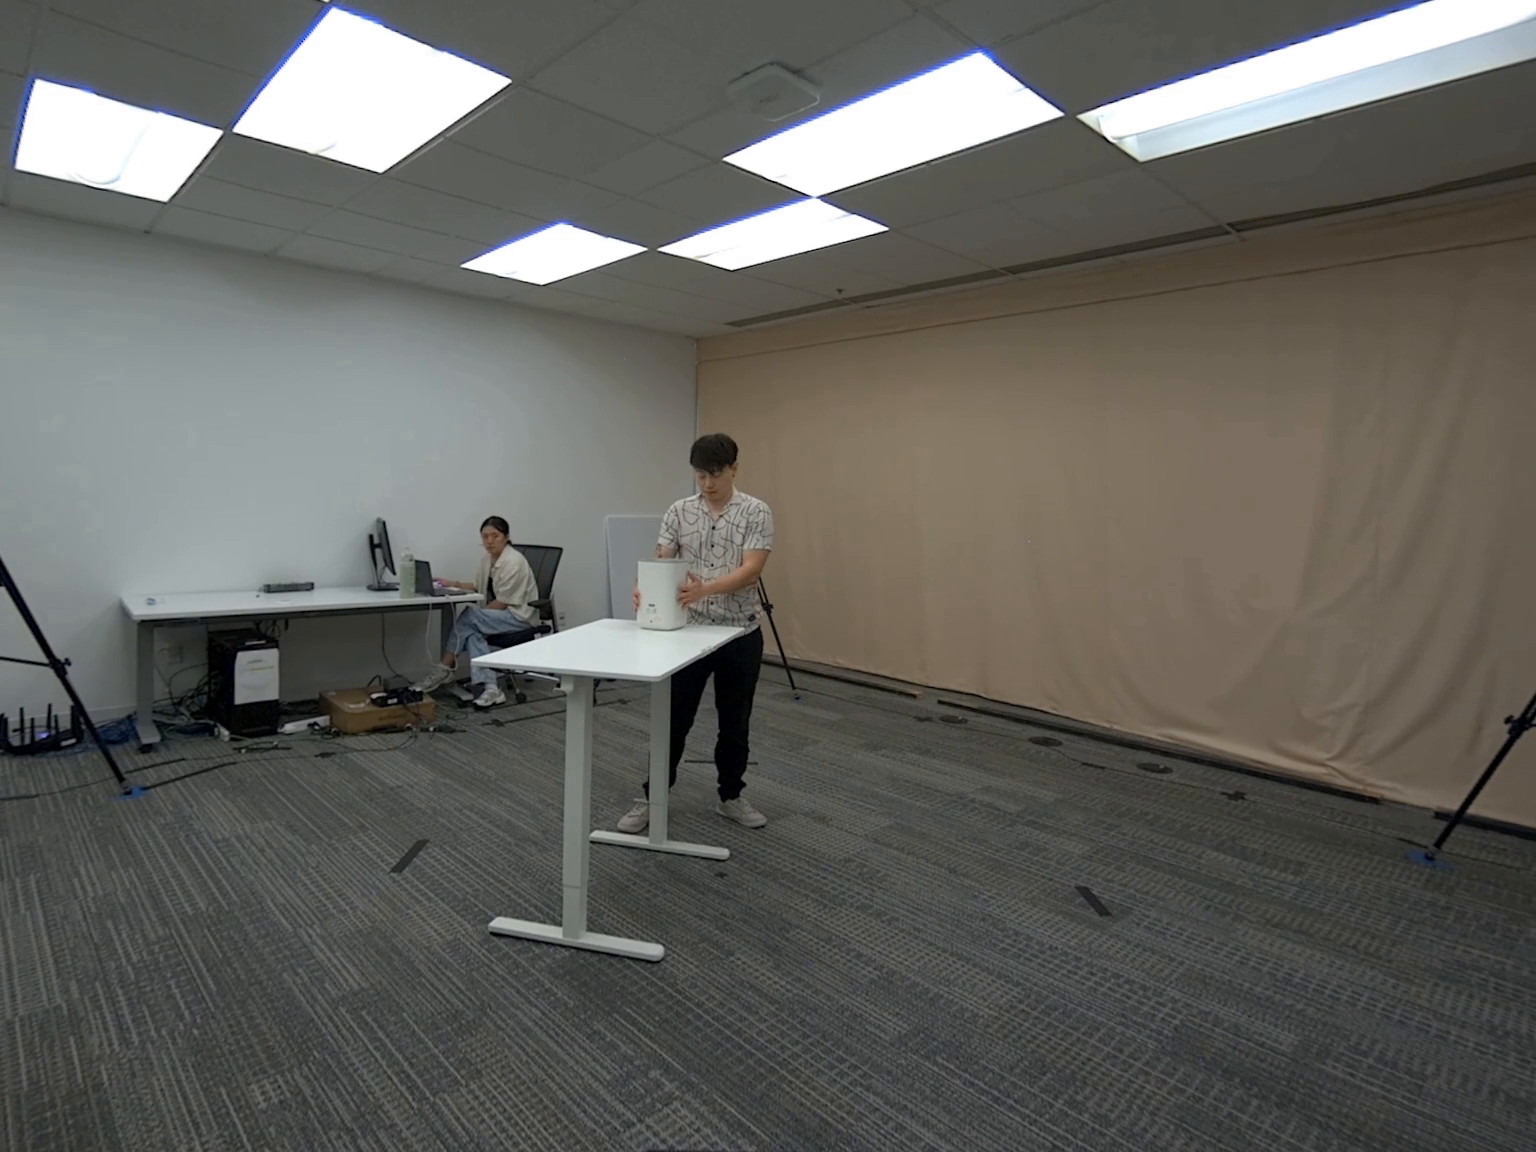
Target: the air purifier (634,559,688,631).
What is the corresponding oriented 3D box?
[{"bbox_3d":[-0.426,0.077,3.269,0.174,0.265,0.169,0,3,24],"label":"air purifier"}]
